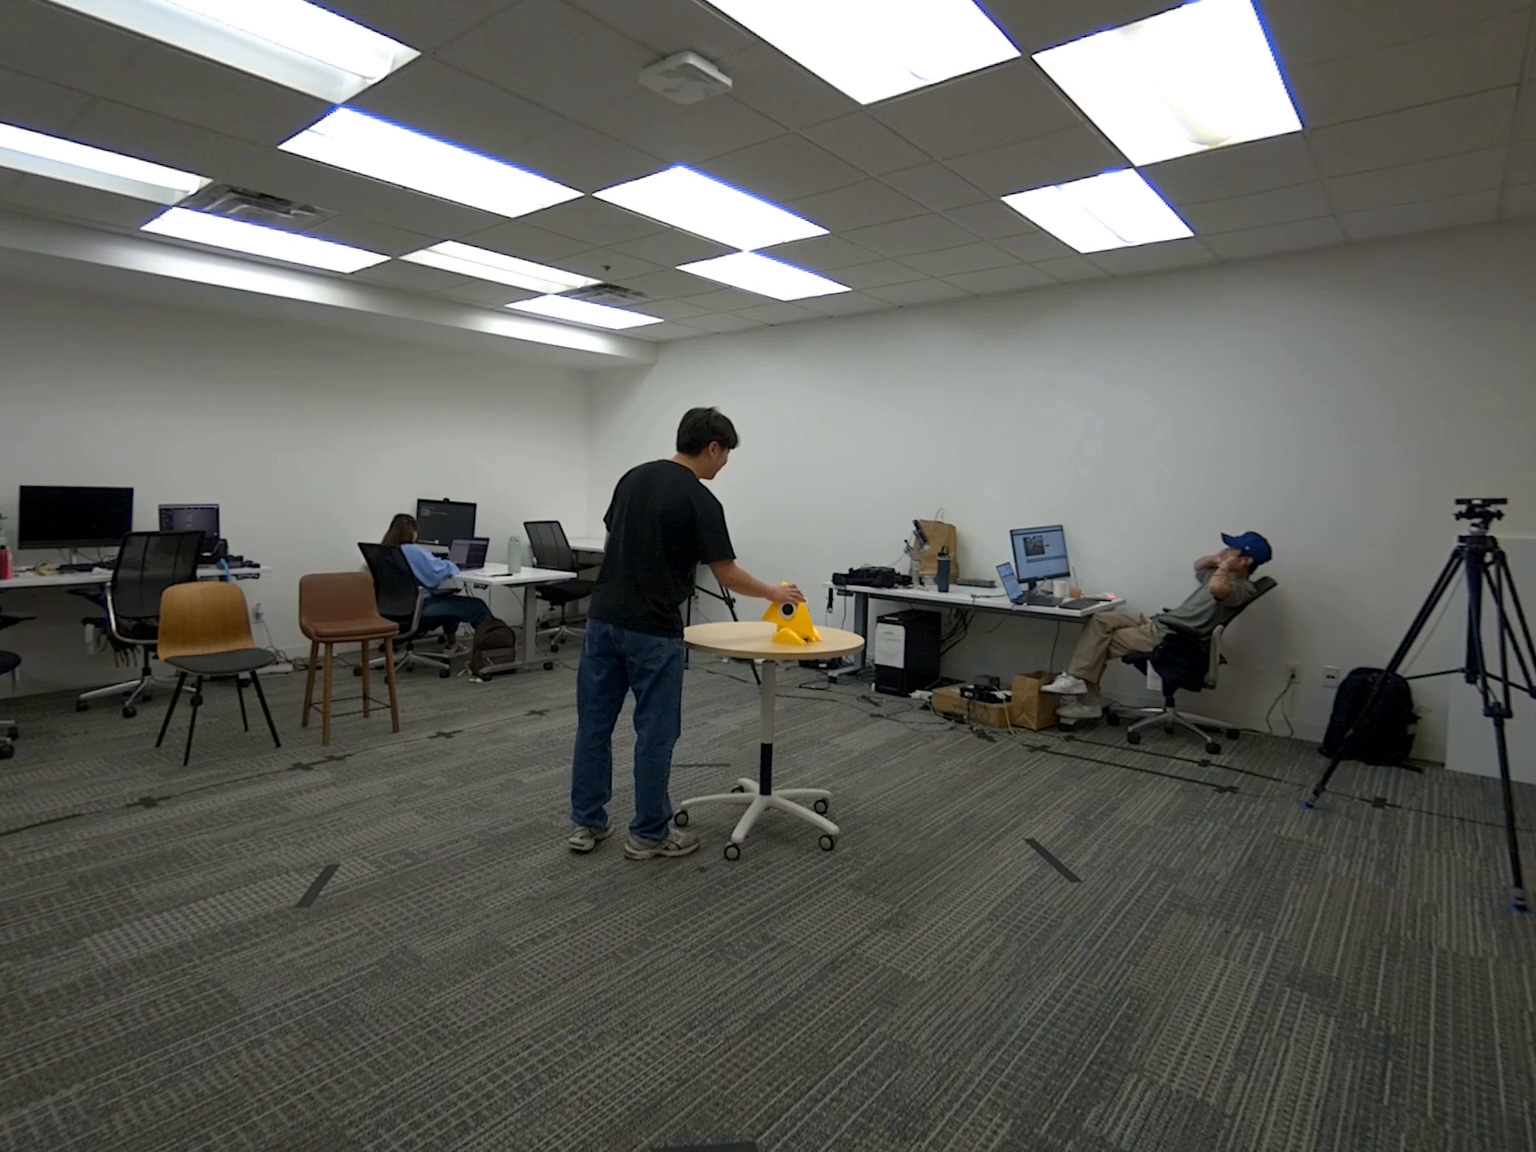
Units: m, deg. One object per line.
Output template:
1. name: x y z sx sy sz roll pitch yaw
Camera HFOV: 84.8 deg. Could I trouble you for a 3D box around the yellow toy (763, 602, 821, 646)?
1. yellow toy: 0.098 0.142 3.384 0.199 0.230 0.198 3 4 40
